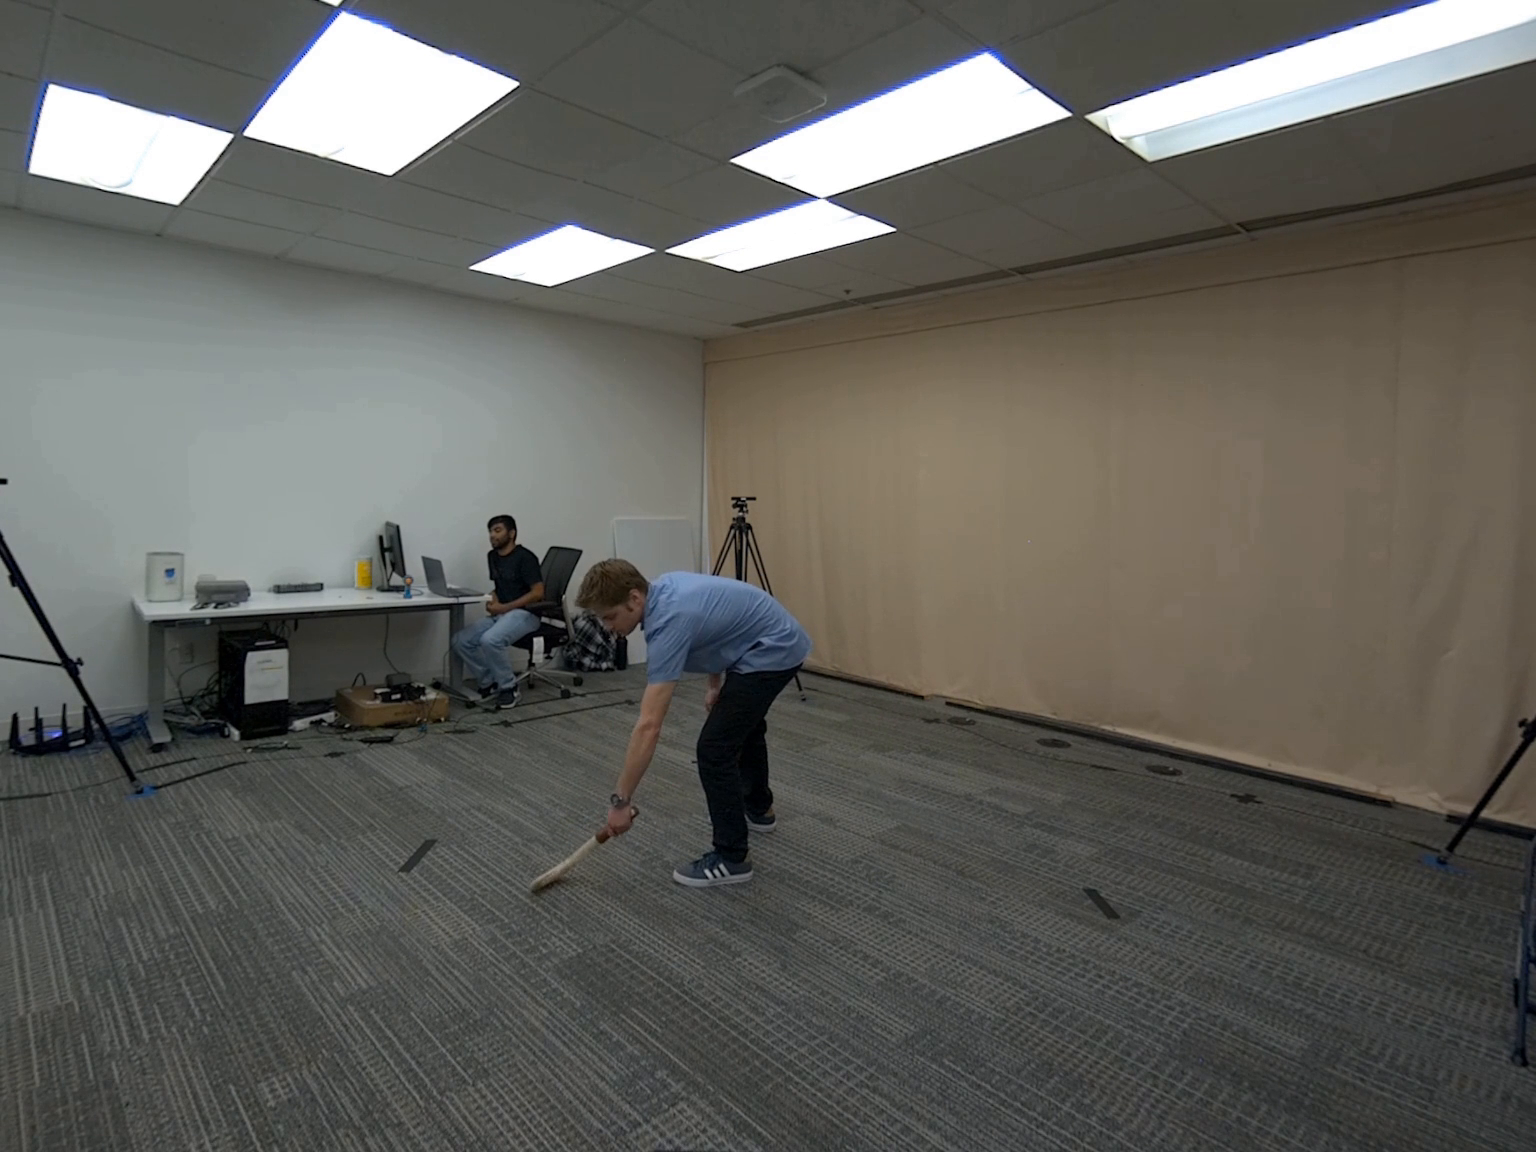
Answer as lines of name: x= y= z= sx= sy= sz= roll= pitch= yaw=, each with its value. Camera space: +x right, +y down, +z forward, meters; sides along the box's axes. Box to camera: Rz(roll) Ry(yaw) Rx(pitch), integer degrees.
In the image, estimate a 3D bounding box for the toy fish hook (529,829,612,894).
toy fish hook: x=-0.633 y=0.945 z=2.884 sx=0.507 sy=0.049 sz=0.222 roll=-42 pitch=-9 yaw=23
